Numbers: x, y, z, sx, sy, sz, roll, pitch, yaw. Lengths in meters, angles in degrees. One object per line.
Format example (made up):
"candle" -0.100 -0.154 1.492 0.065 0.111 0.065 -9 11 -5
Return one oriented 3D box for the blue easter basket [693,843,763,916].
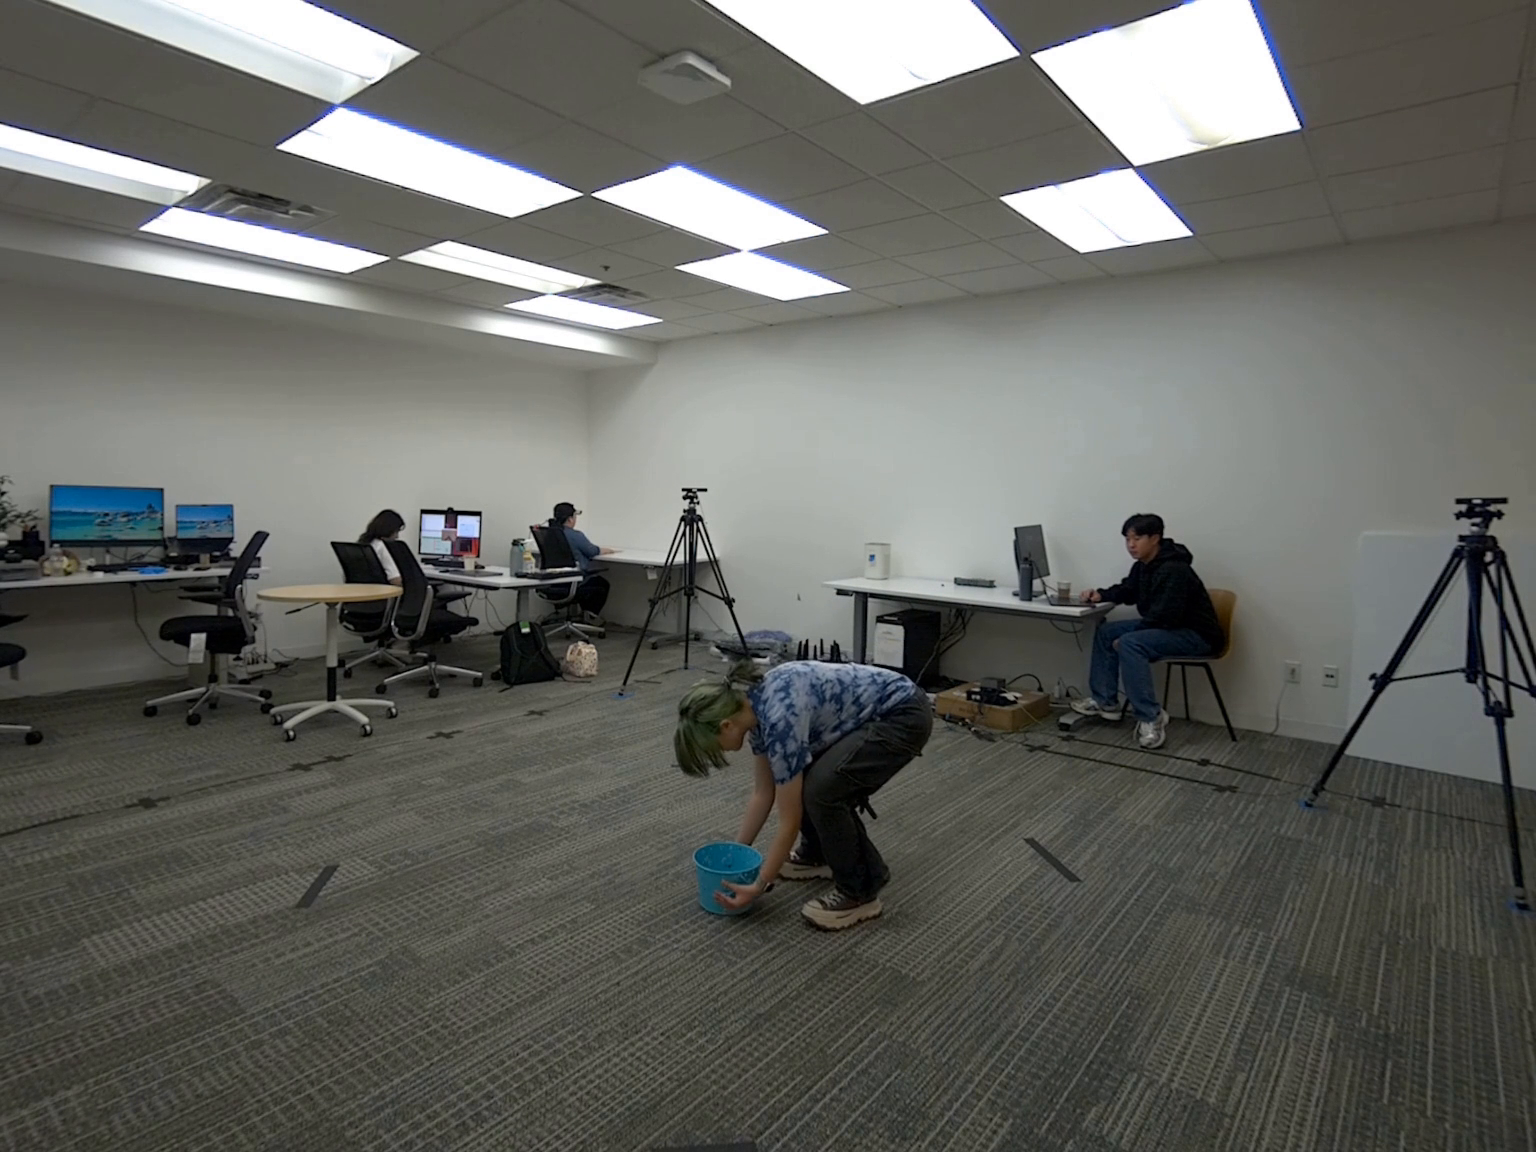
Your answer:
"blue easter basket" -0.147 1.009 2.844 0.243 0.155 0.245 0 4 -2
